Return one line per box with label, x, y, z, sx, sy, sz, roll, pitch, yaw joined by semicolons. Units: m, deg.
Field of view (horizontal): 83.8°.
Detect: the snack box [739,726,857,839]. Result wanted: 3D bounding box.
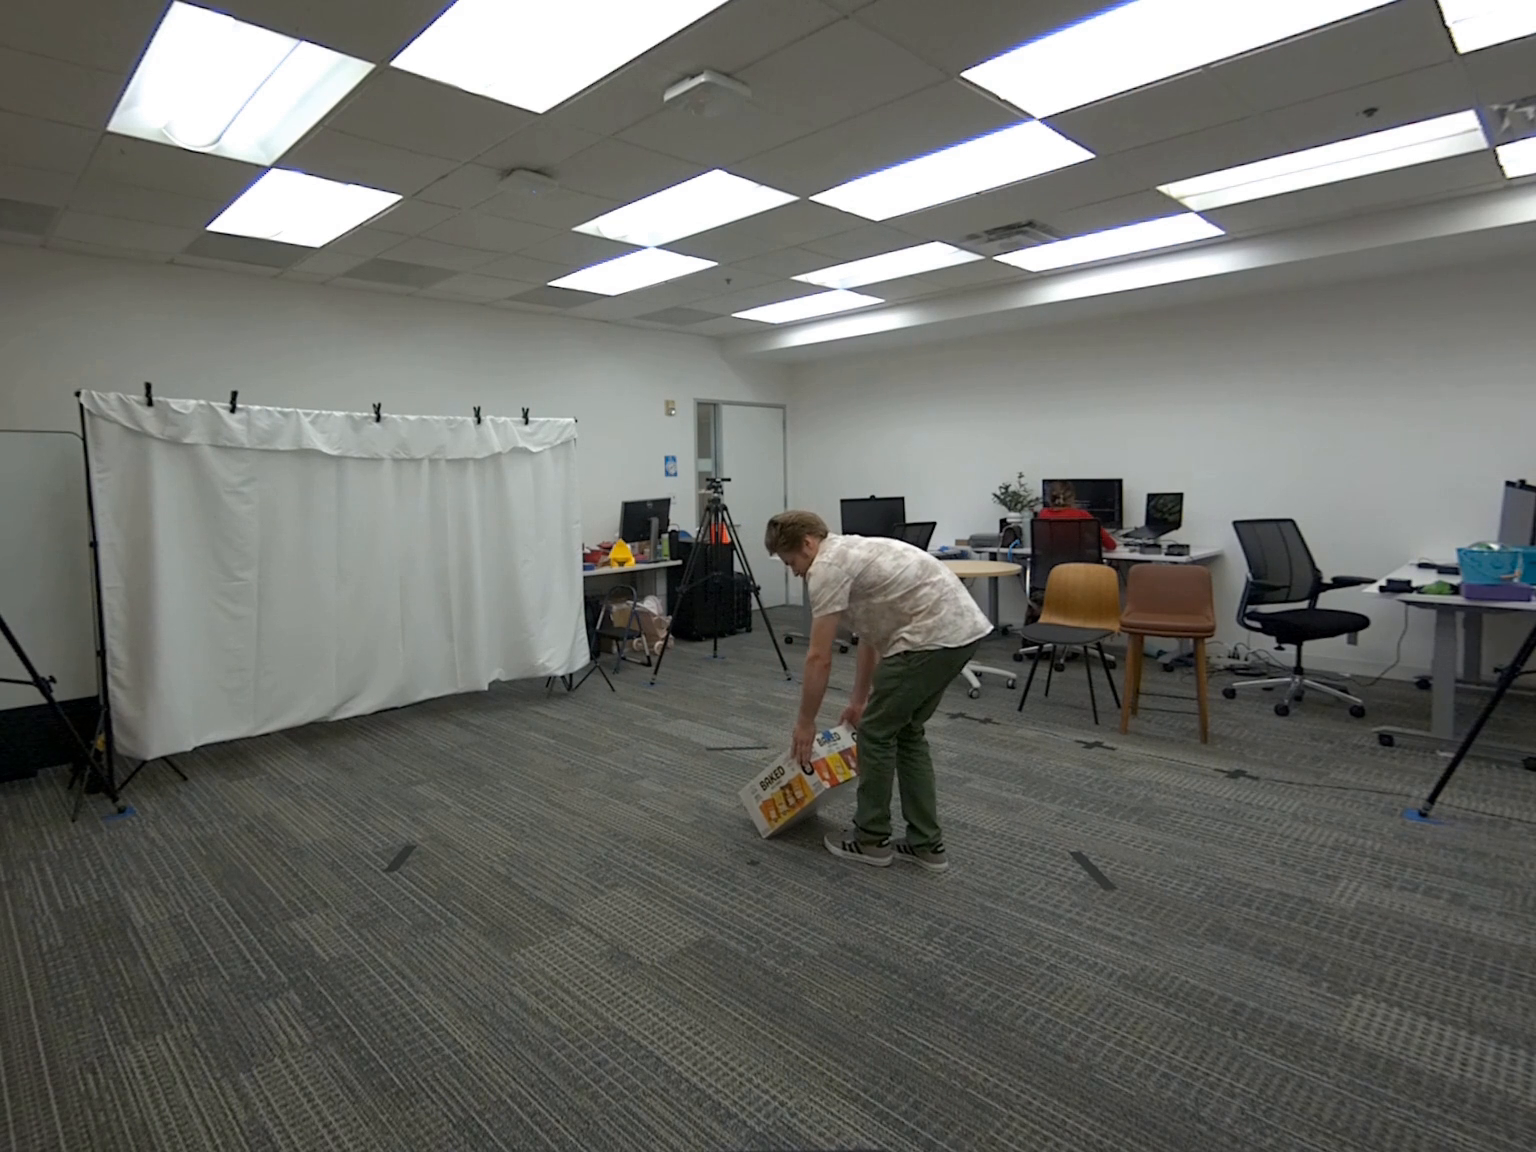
snack box;0.158;0.805;3.359;0.331;0.211;0.404;-6;-35;-48
